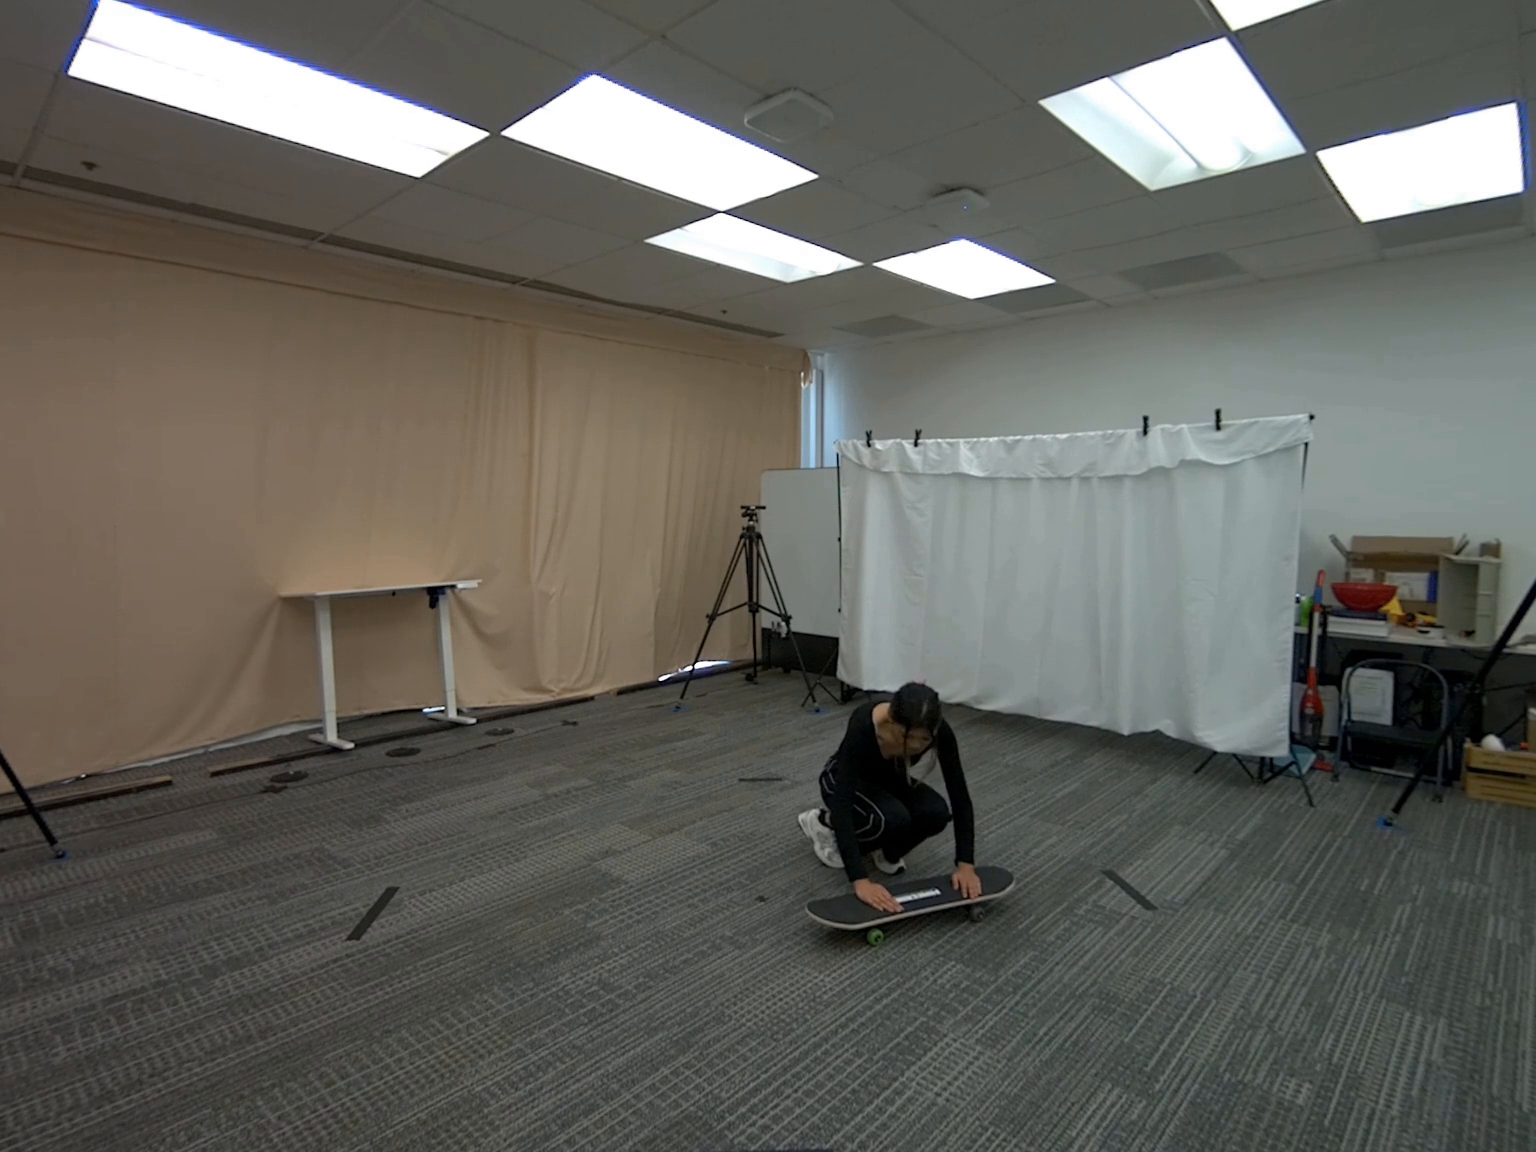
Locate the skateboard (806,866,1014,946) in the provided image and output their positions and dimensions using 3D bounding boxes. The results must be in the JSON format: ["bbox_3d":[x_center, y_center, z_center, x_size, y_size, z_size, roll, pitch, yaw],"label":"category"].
[{"bbox_3d":[0.487,1.094,2.817,0.768,0.110,0.198,-2,4,-23],"label":"skateboard"}]
